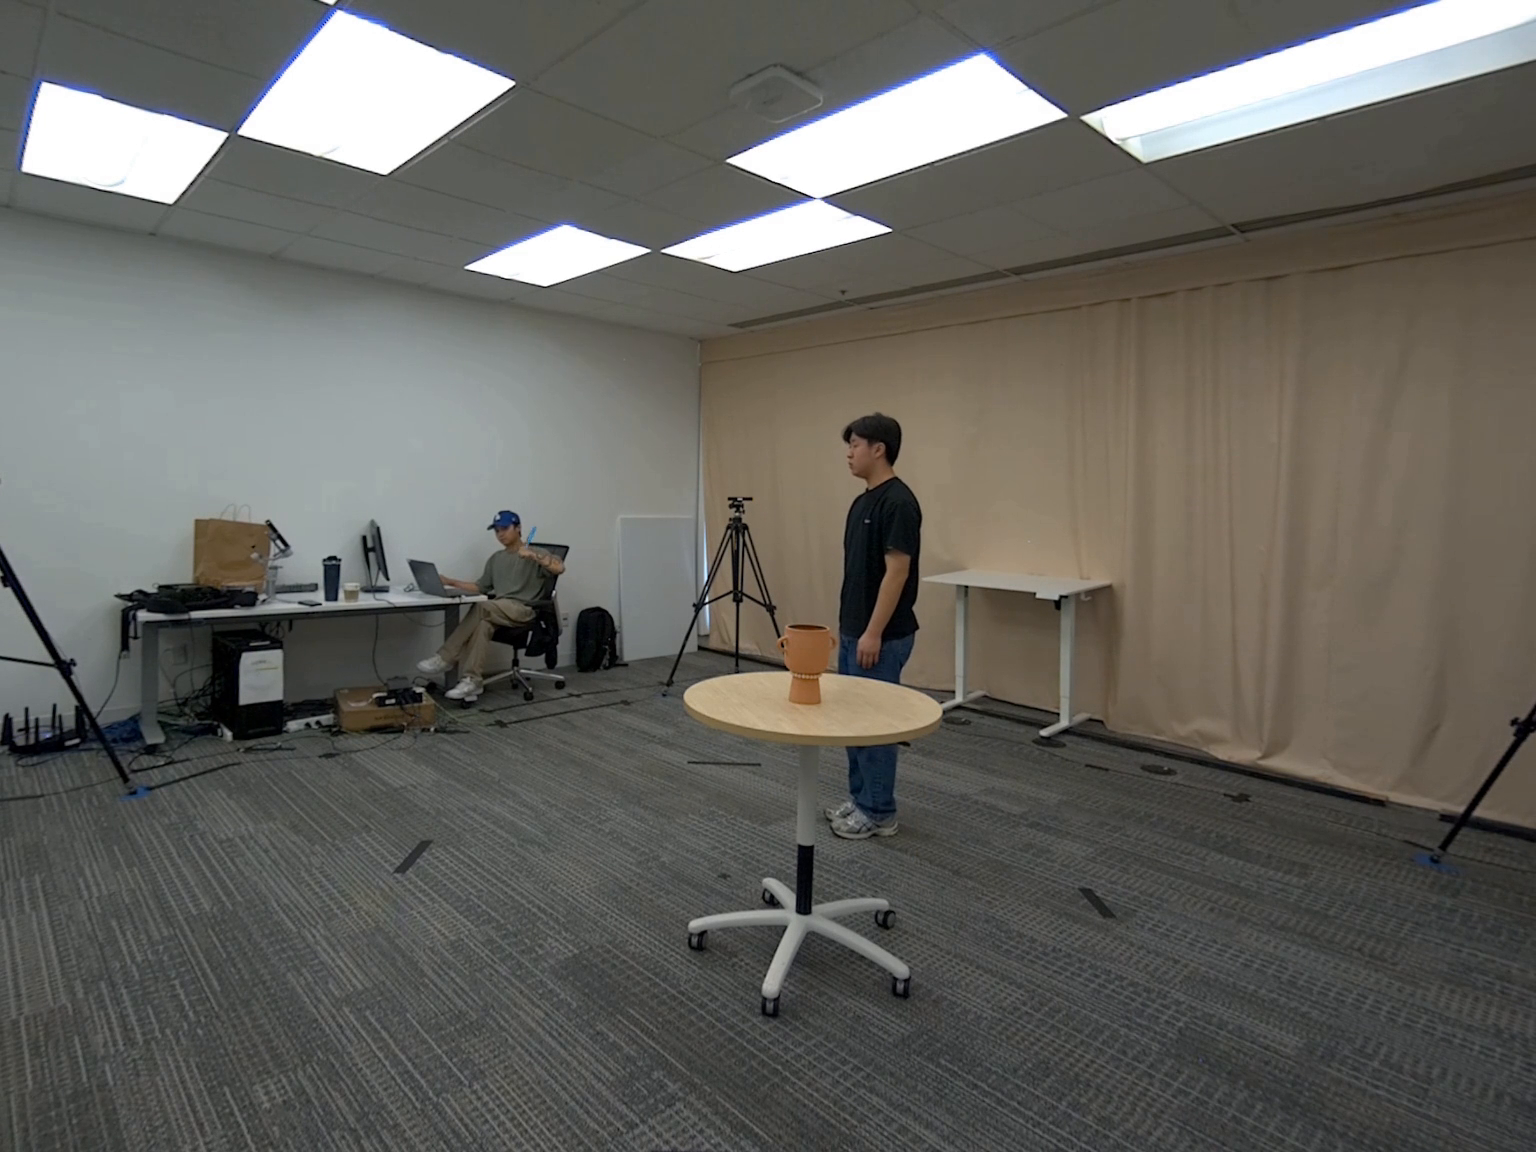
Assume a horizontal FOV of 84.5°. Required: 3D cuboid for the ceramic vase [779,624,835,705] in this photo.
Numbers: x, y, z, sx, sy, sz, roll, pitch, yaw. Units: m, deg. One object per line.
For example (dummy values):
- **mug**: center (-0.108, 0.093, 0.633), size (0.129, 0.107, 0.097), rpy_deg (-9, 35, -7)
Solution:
- **ceramic vase**: center (0.113, 0.267, 2.486), size (0.161, 0.219, 0.133), rpy_deg (4, 5, 13)
